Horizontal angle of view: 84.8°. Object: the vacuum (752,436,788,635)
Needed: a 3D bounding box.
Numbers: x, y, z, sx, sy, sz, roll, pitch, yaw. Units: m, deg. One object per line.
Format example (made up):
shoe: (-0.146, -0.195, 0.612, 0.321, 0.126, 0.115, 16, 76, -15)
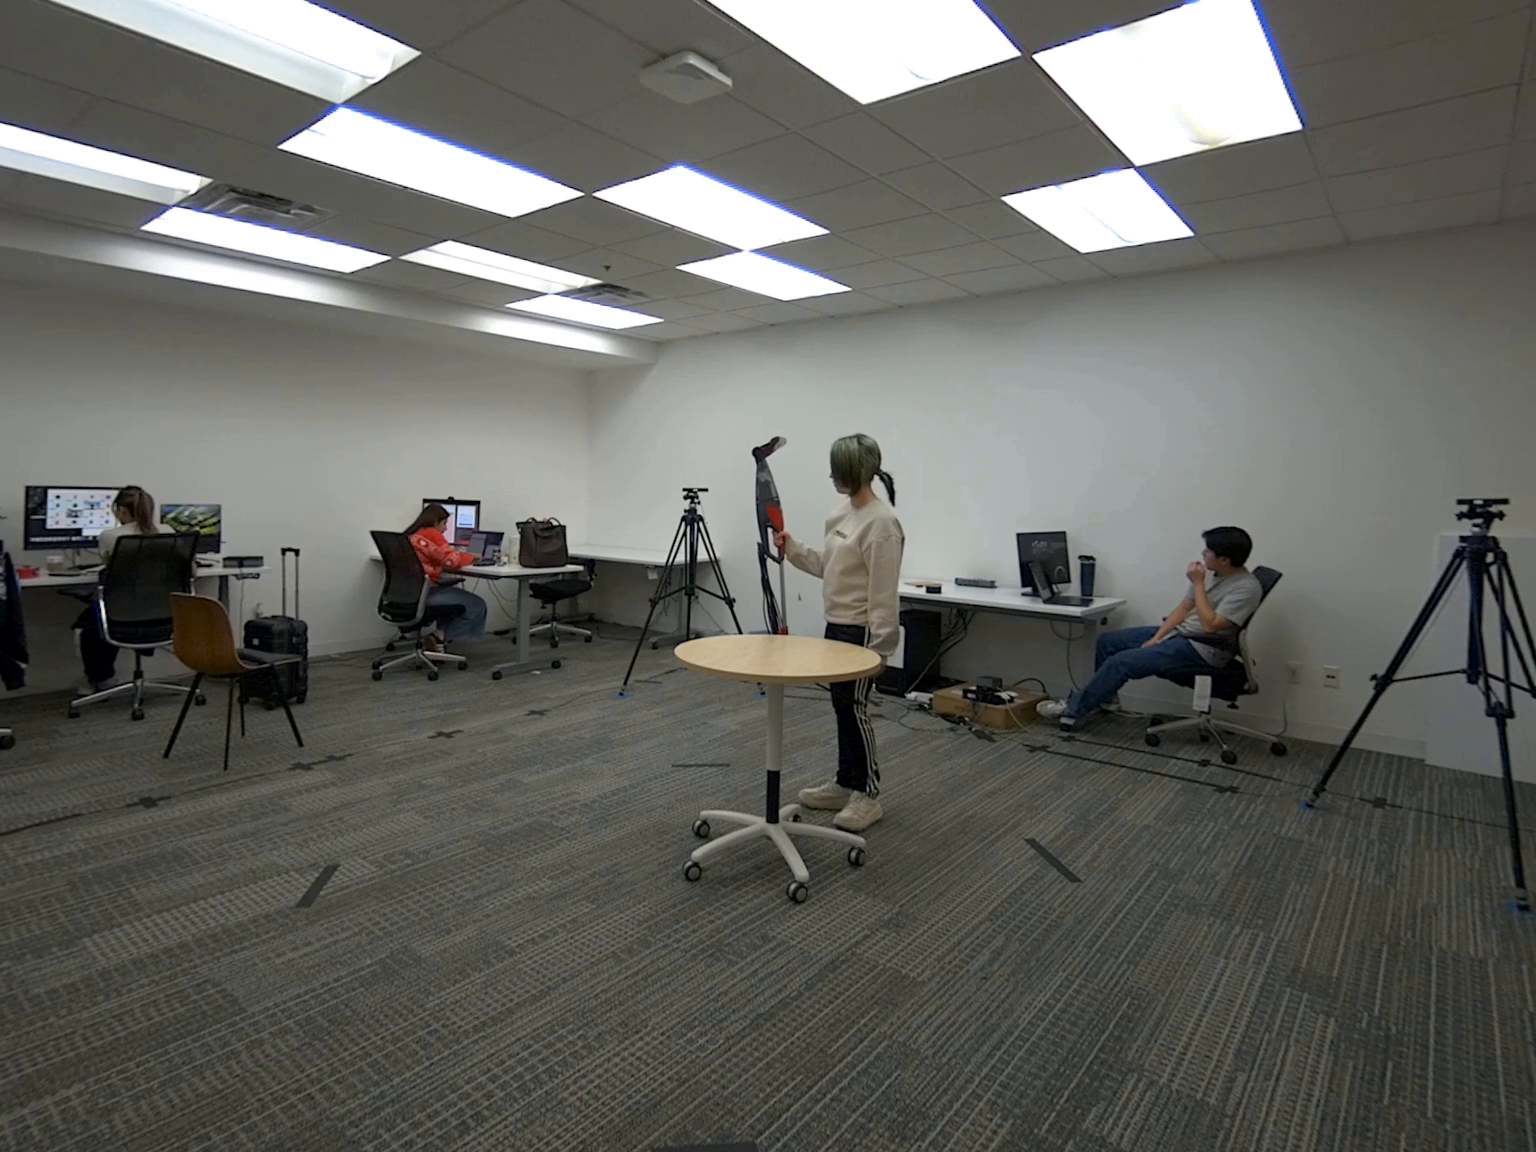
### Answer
vacuum: (0.013, -0.080, 3.823, 0.146, 1.045, 0.251, -2, 4, 10)
